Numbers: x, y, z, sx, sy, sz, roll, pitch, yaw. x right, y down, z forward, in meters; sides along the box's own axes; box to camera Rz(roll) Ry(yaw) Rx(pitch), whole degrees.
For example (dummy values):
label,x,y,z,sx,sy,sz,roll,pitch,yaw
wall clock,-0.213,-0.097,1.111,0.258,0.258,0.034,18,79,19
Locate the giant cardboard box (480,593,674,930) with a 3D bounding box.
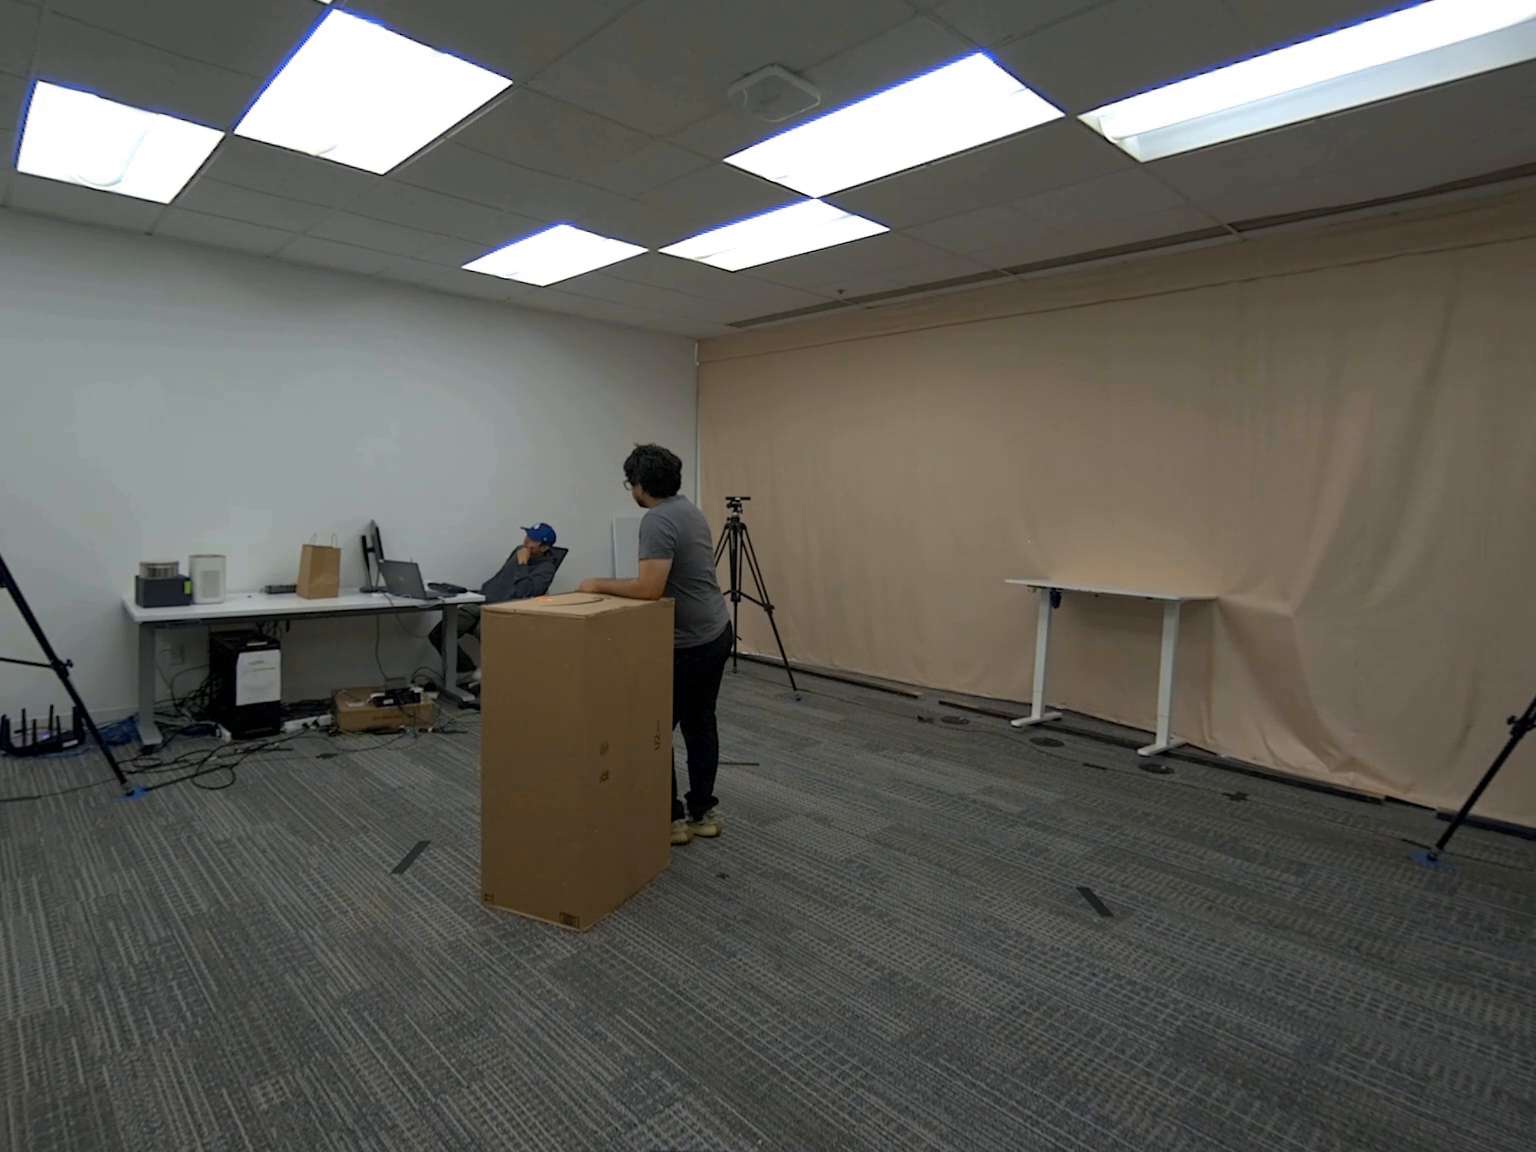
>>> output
label,x,y,z,sx,sy,sz,roll,pitch,yaw
giant cardboard box,-0.676,0.599,2.985,0.434,1.023,0.568,3,4,25
